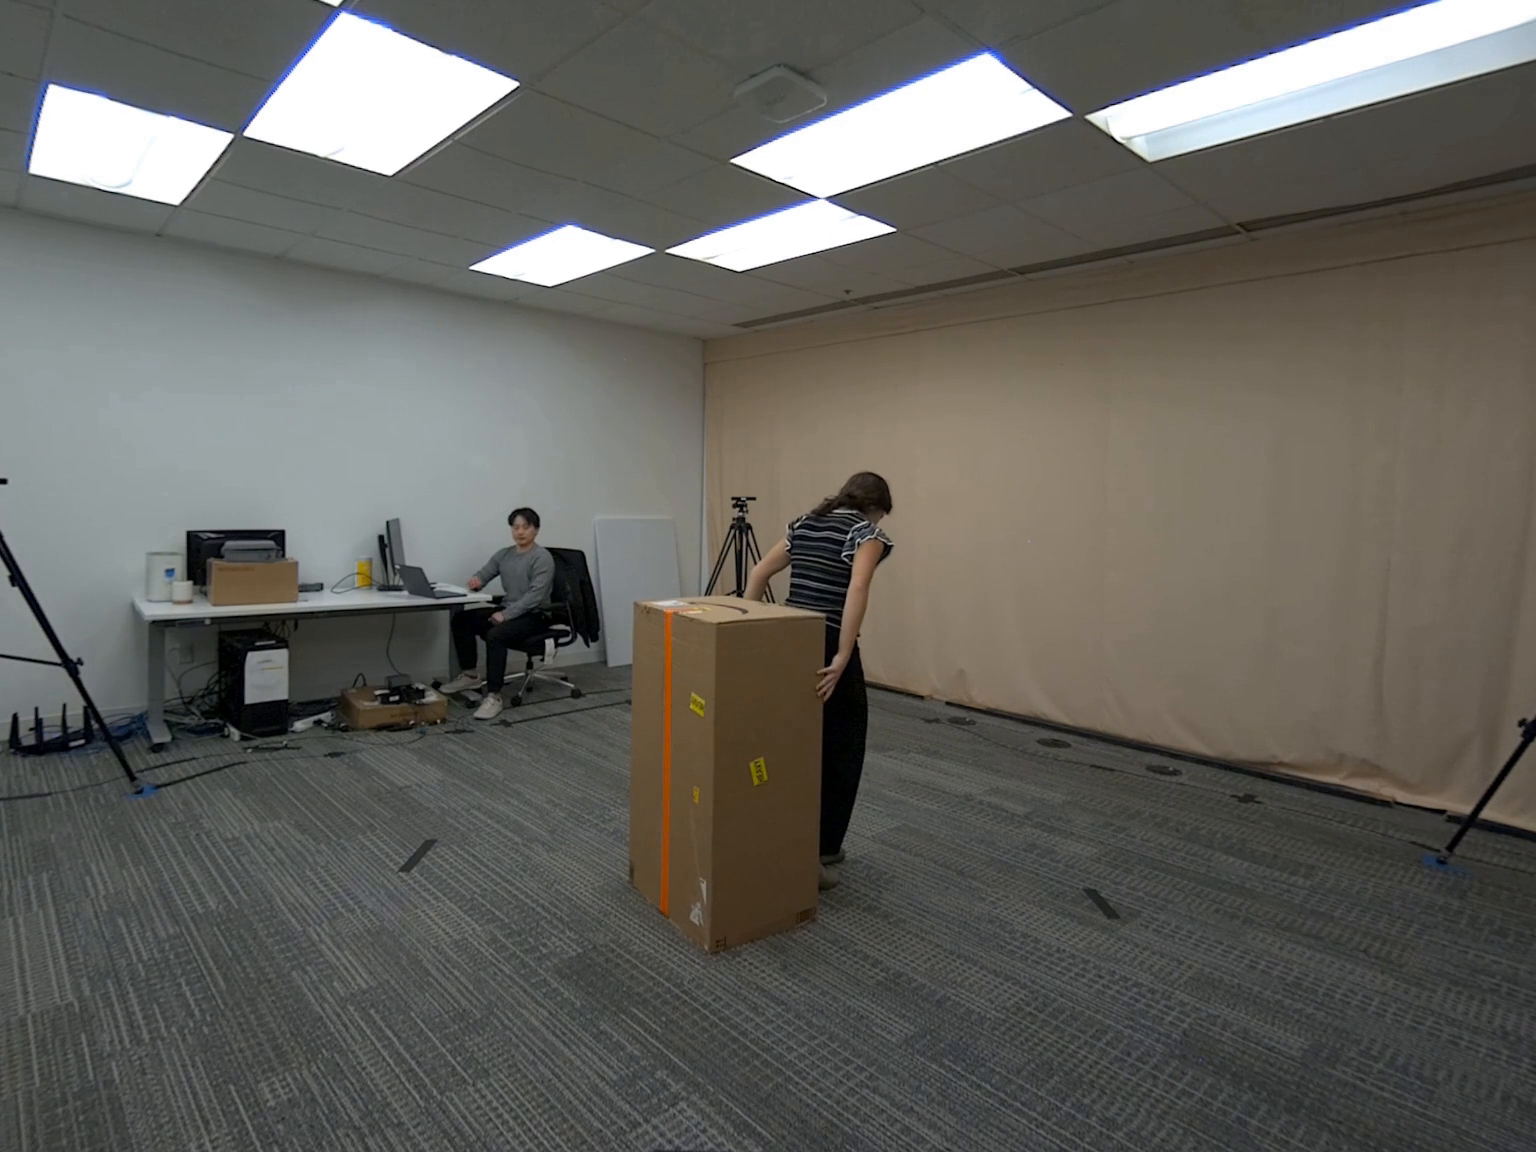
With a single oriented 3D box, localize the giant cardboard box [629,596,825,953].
[{"bbox_3d":[-0.169,0.617,2.880,0.417,1.023,0.591,-1,4,-34],"label":"giant cardboard box"}]
